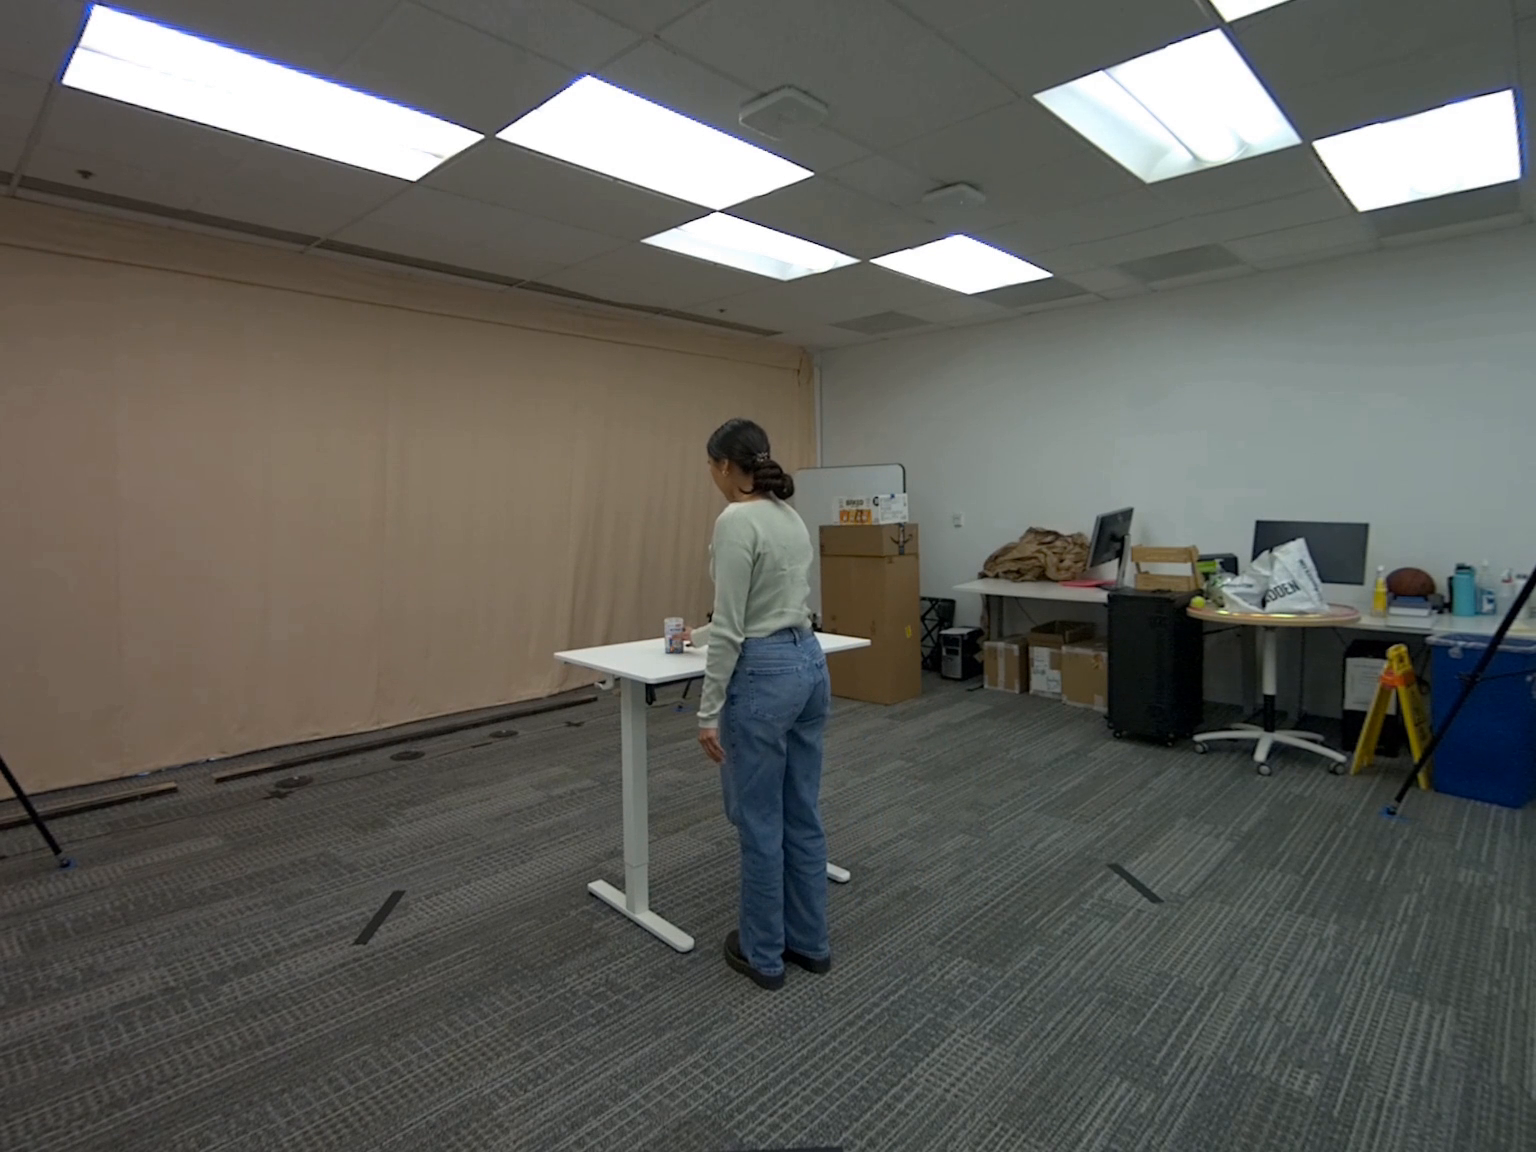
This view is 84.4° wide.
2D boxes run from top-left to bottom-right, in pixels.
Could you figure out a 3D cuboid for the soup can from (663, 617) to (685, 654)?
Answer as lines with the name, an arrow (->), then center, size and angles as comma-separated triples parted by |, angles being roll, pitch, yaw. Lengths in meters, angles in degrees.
soup can -> -0.322, 0.208, 2.919 | 0.067, 0.121, 0.067 | -1, 3, -2
